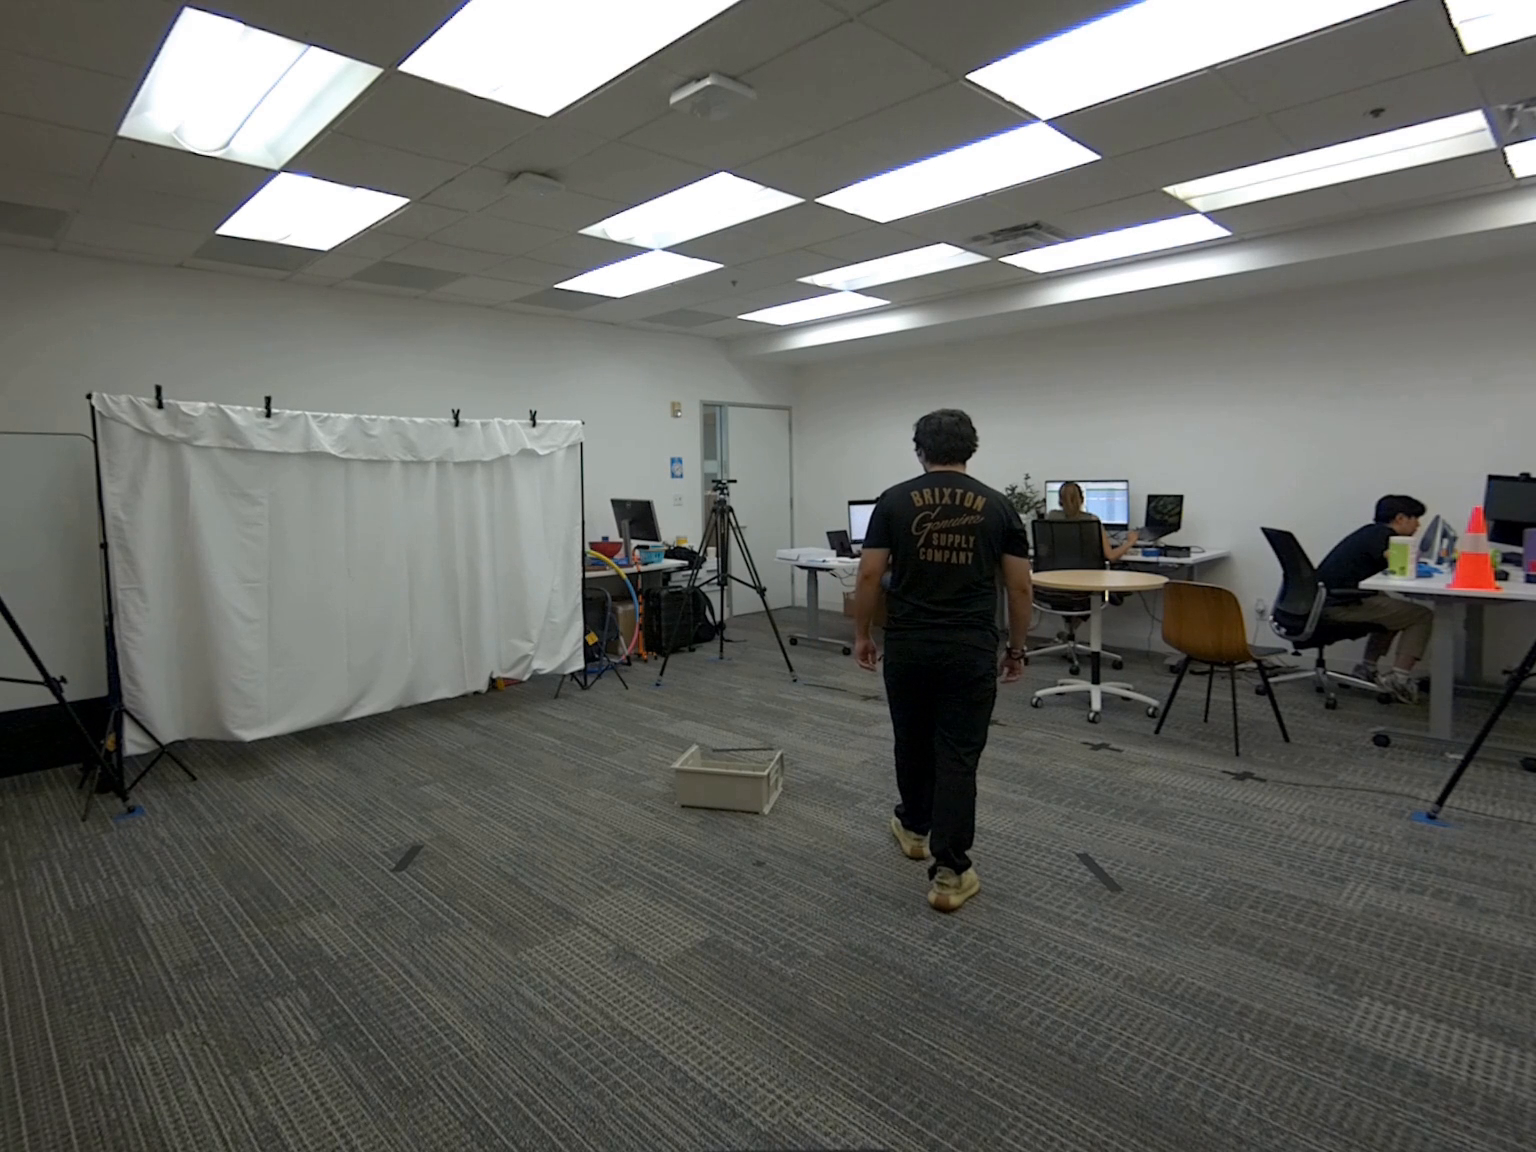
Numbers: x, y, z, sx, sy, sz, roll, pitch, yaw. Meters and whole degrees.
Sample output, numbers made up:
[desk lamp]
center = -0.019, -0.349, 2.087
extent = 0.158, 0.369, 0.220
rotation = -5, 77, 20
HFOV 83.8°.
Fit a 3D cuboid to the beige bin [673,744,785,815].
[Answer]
[beige bin]
center = -0.169, 0.887, 3.781
extent = 0.429, 0.188, 0.374
rotation = 1, 7, 15
